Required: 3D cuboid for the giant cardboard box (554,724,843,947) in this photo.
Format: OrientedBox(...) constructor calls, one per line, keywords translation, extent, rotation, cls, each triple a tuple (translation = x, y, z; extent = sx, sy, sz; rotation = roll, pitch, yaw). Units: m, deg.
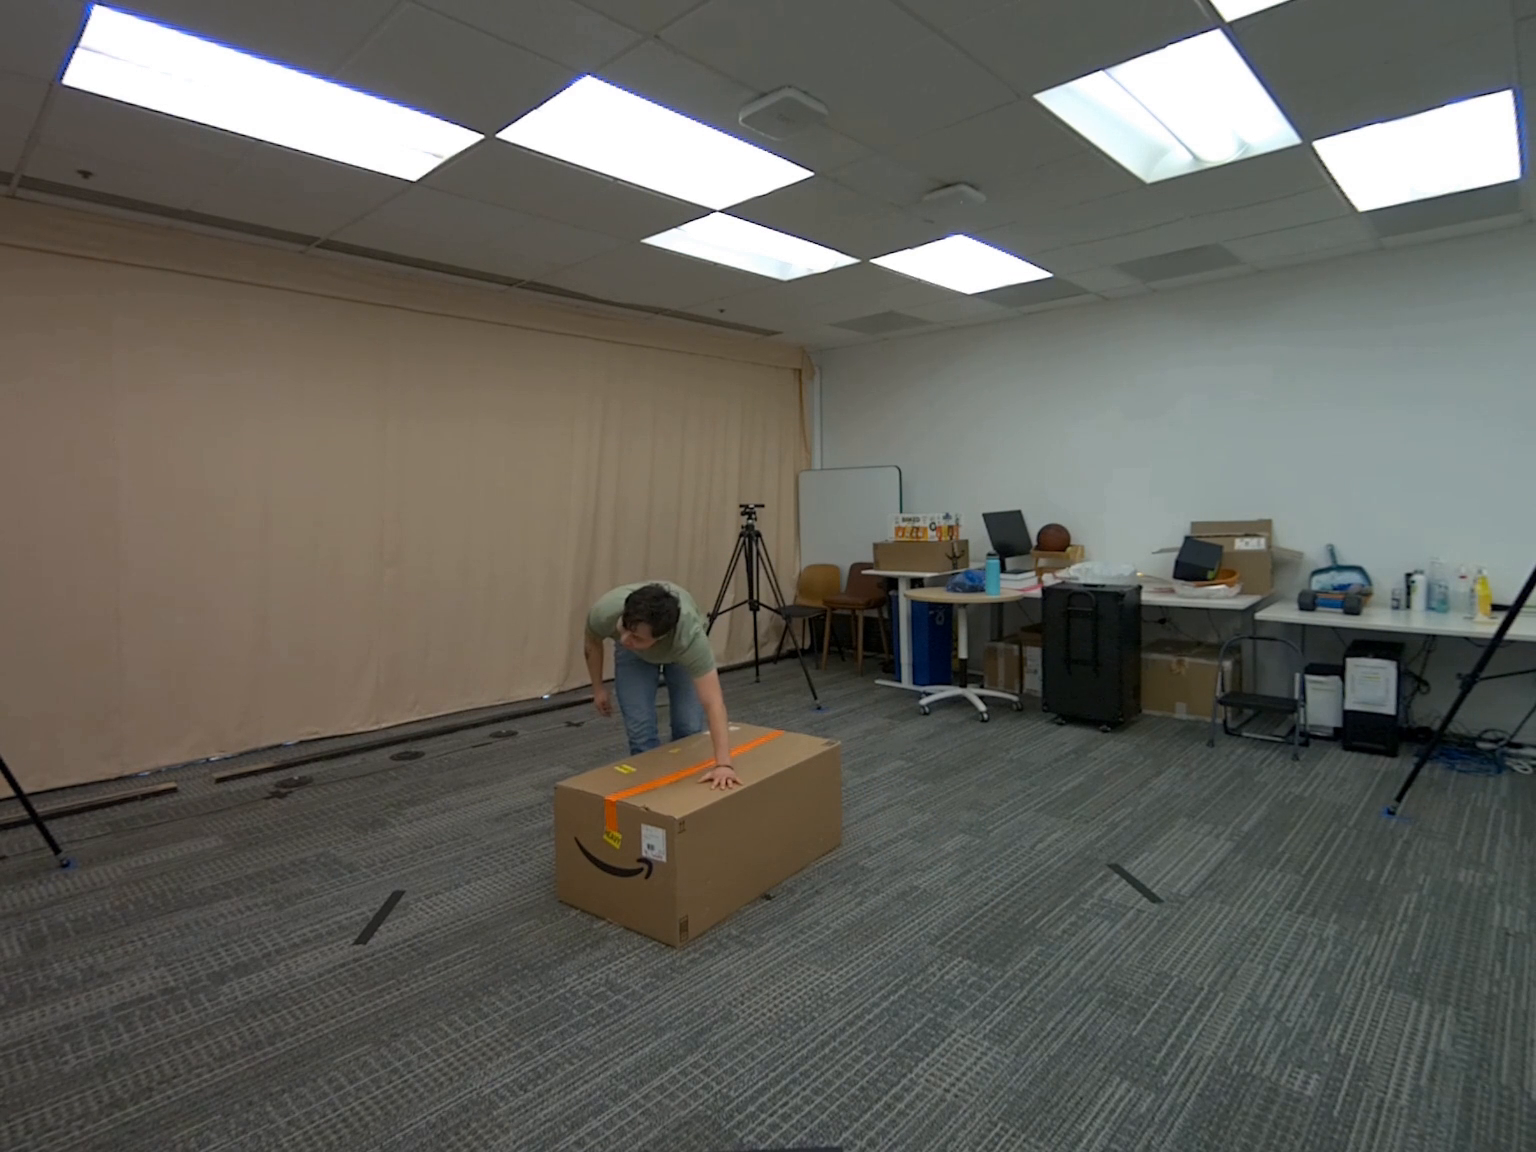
OrientedBox(translation=(-0.219, 0.913, 3.200), extent=(0.596, 0.425, 0.996), rotation=(1, 6, 36), cls="giant cardboard box")
